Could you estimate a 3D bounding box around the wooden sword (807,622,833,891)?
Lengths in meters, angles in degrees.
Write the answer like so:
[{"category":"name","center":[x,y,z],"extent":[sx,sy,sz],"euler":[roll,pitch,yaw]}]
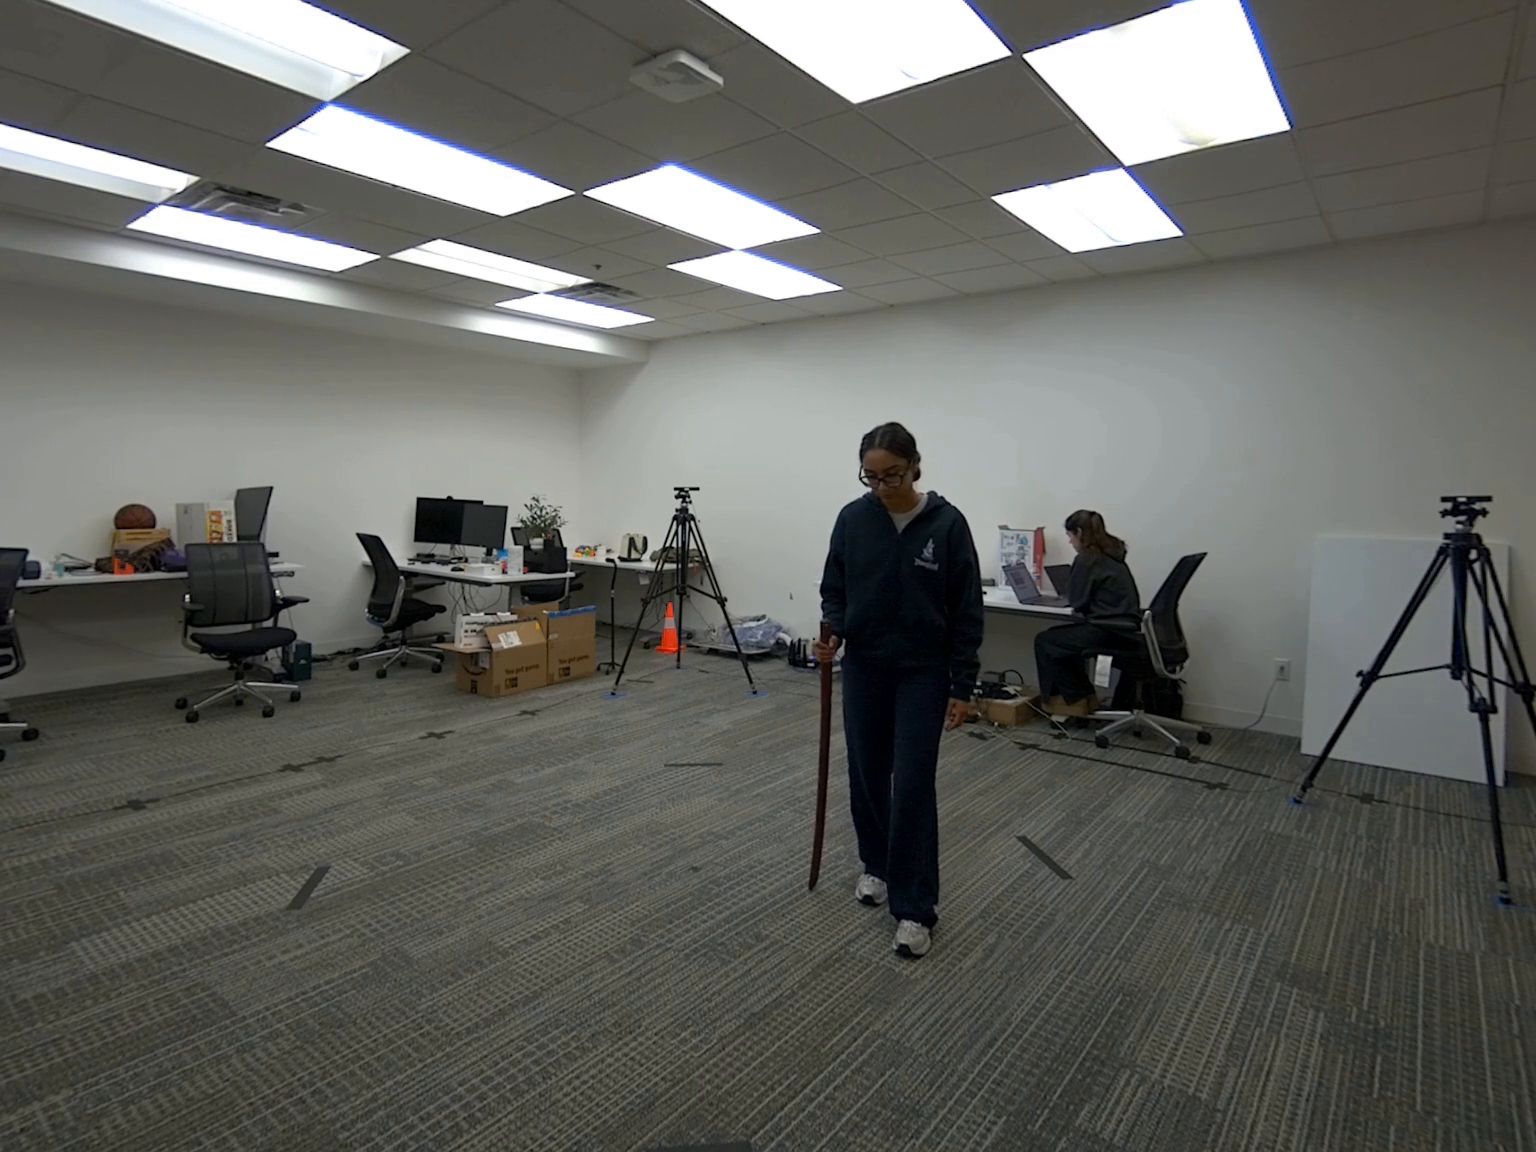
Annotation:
[{"category":"wooden sword","center":[0.161,0.617,2.811],"extent":[0.025,1.007,0.051],"euler":[10,21,25]}]
